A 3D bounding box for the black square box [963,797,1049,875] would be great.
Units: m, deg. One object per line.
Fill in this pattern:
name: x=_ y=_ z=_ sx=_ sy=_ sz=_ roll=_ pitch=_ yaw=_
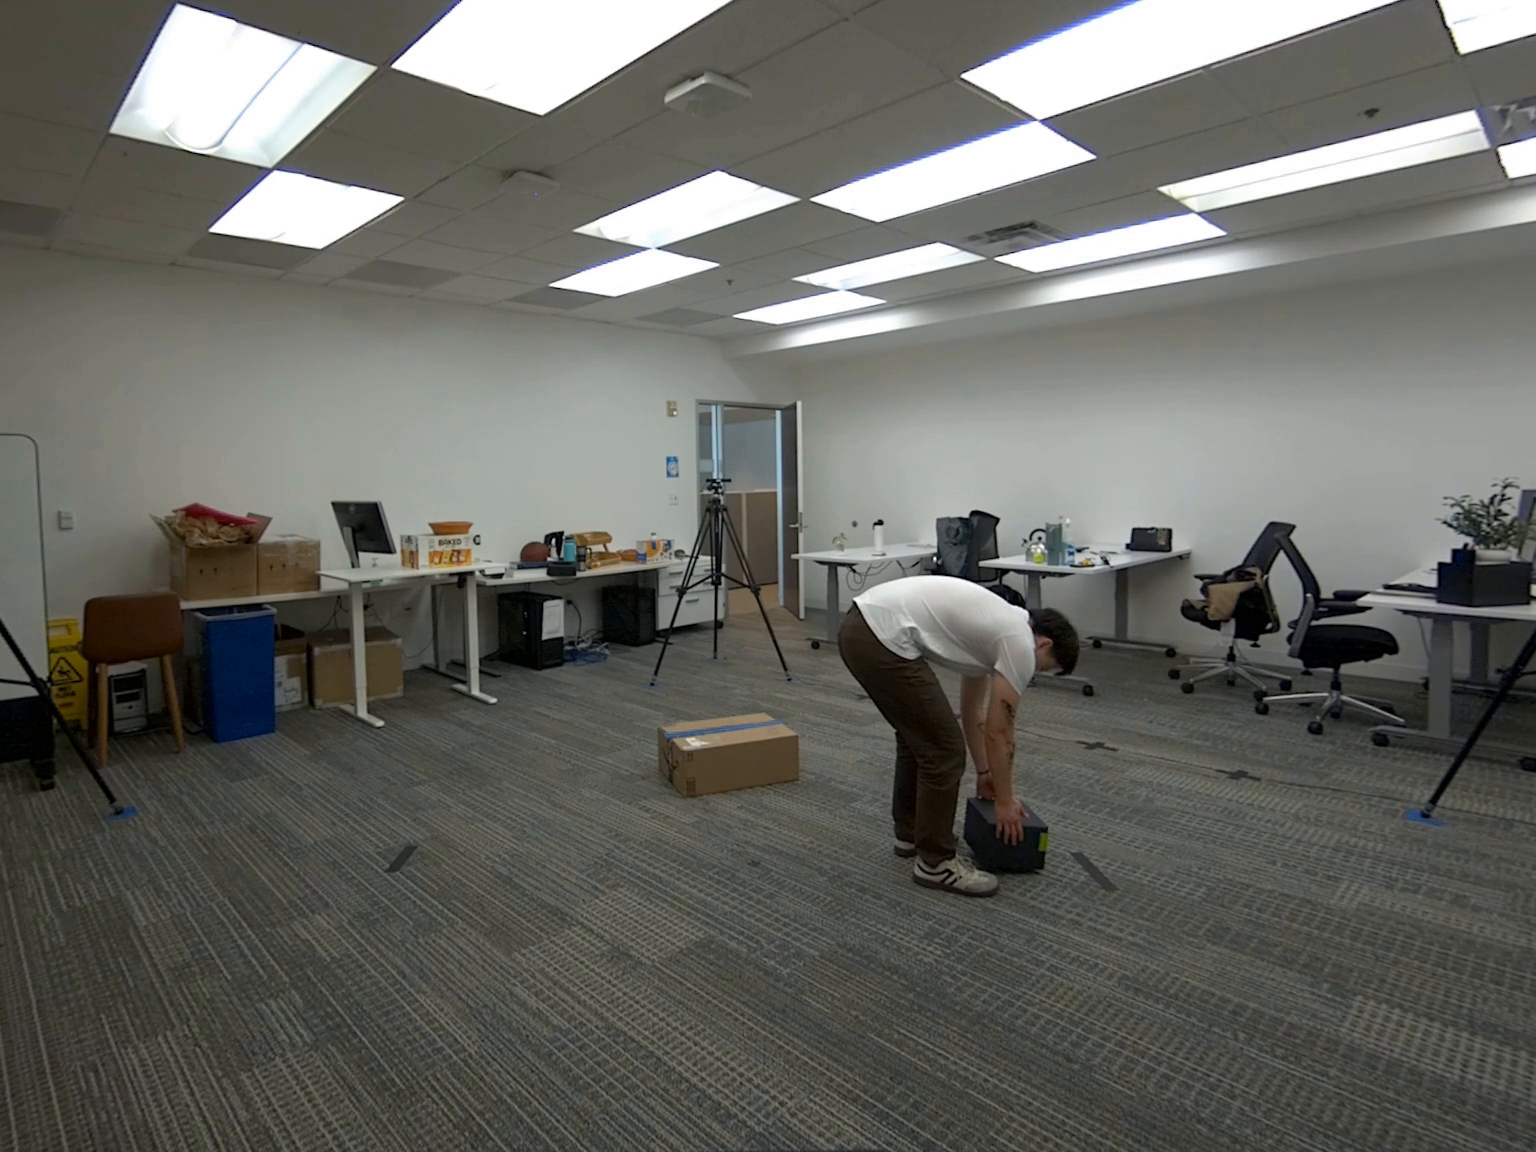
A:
black square box: x=0.851 y=0.911 z=3.065 sx=0.216 sy=0.155 sz=0.230 roll=5 pitch=6 yaw=-5
